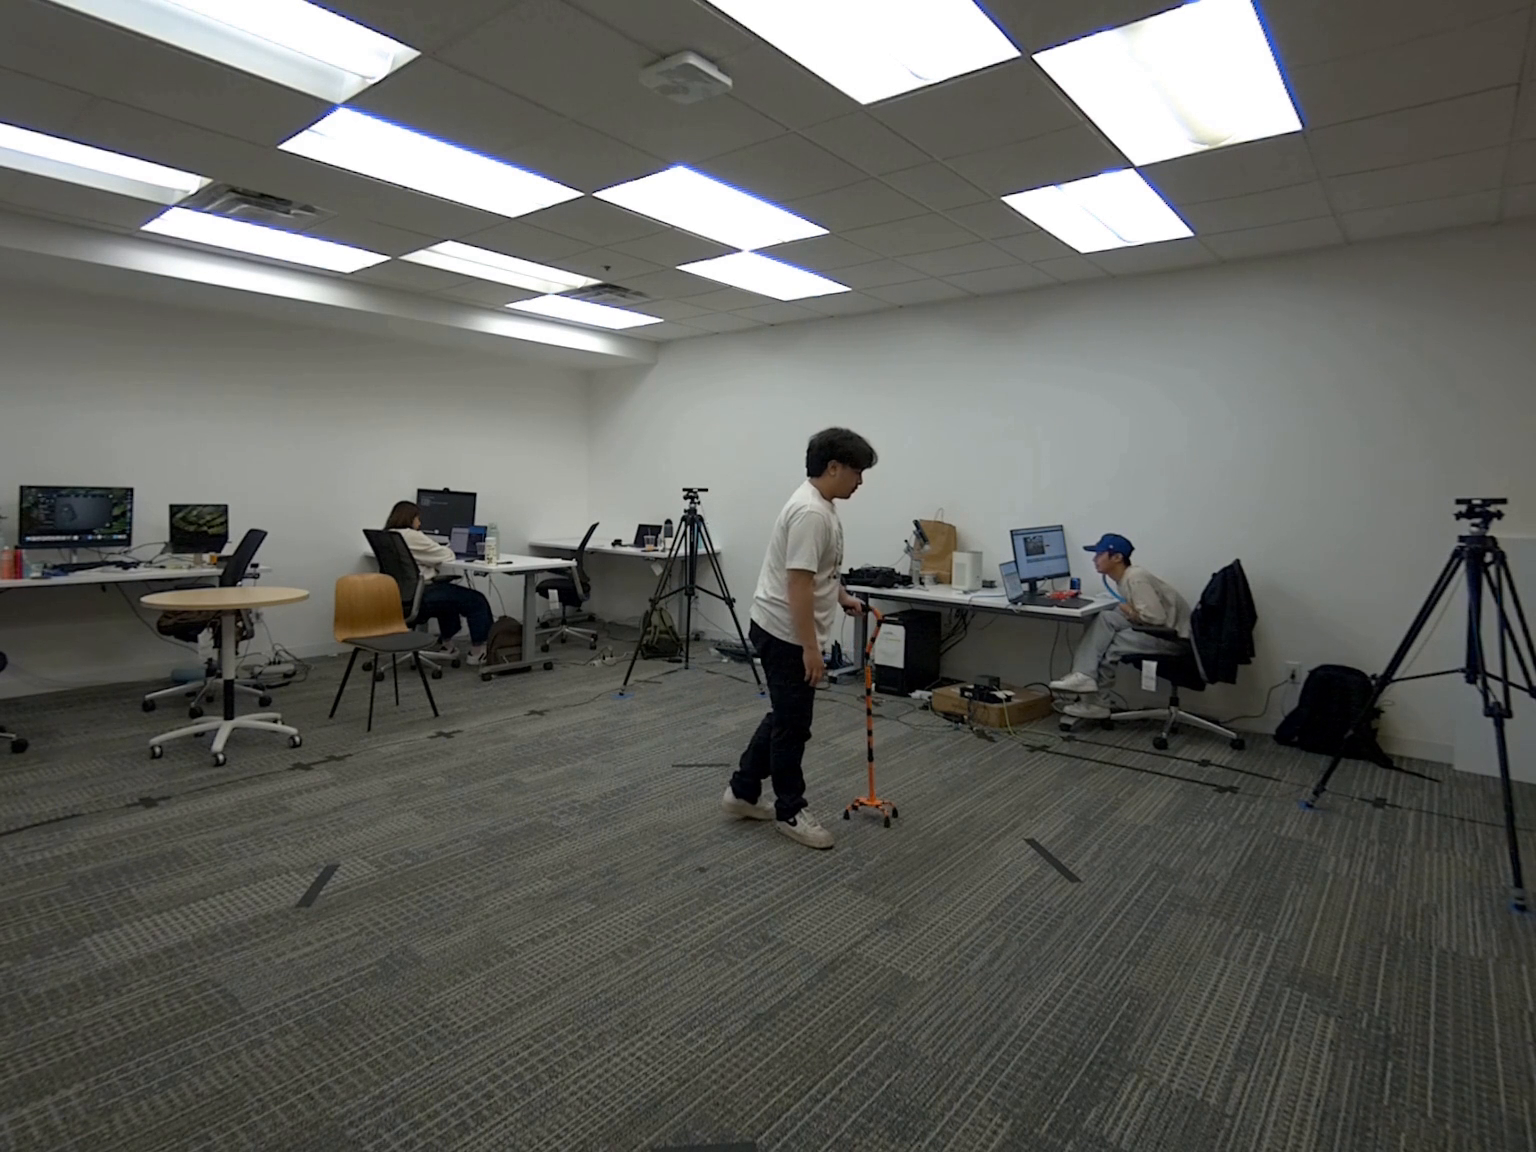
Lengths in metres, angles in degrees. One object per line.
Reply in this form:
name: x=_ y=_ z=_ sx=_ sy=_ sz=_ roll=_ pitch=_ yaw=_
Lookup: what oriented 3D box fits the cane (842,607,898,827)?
cane: x=0.428 y=0.581 z=3.627 sx=0.211 sy=0.906 sz=0.148 roll=0 pitch=2 yaw=24
